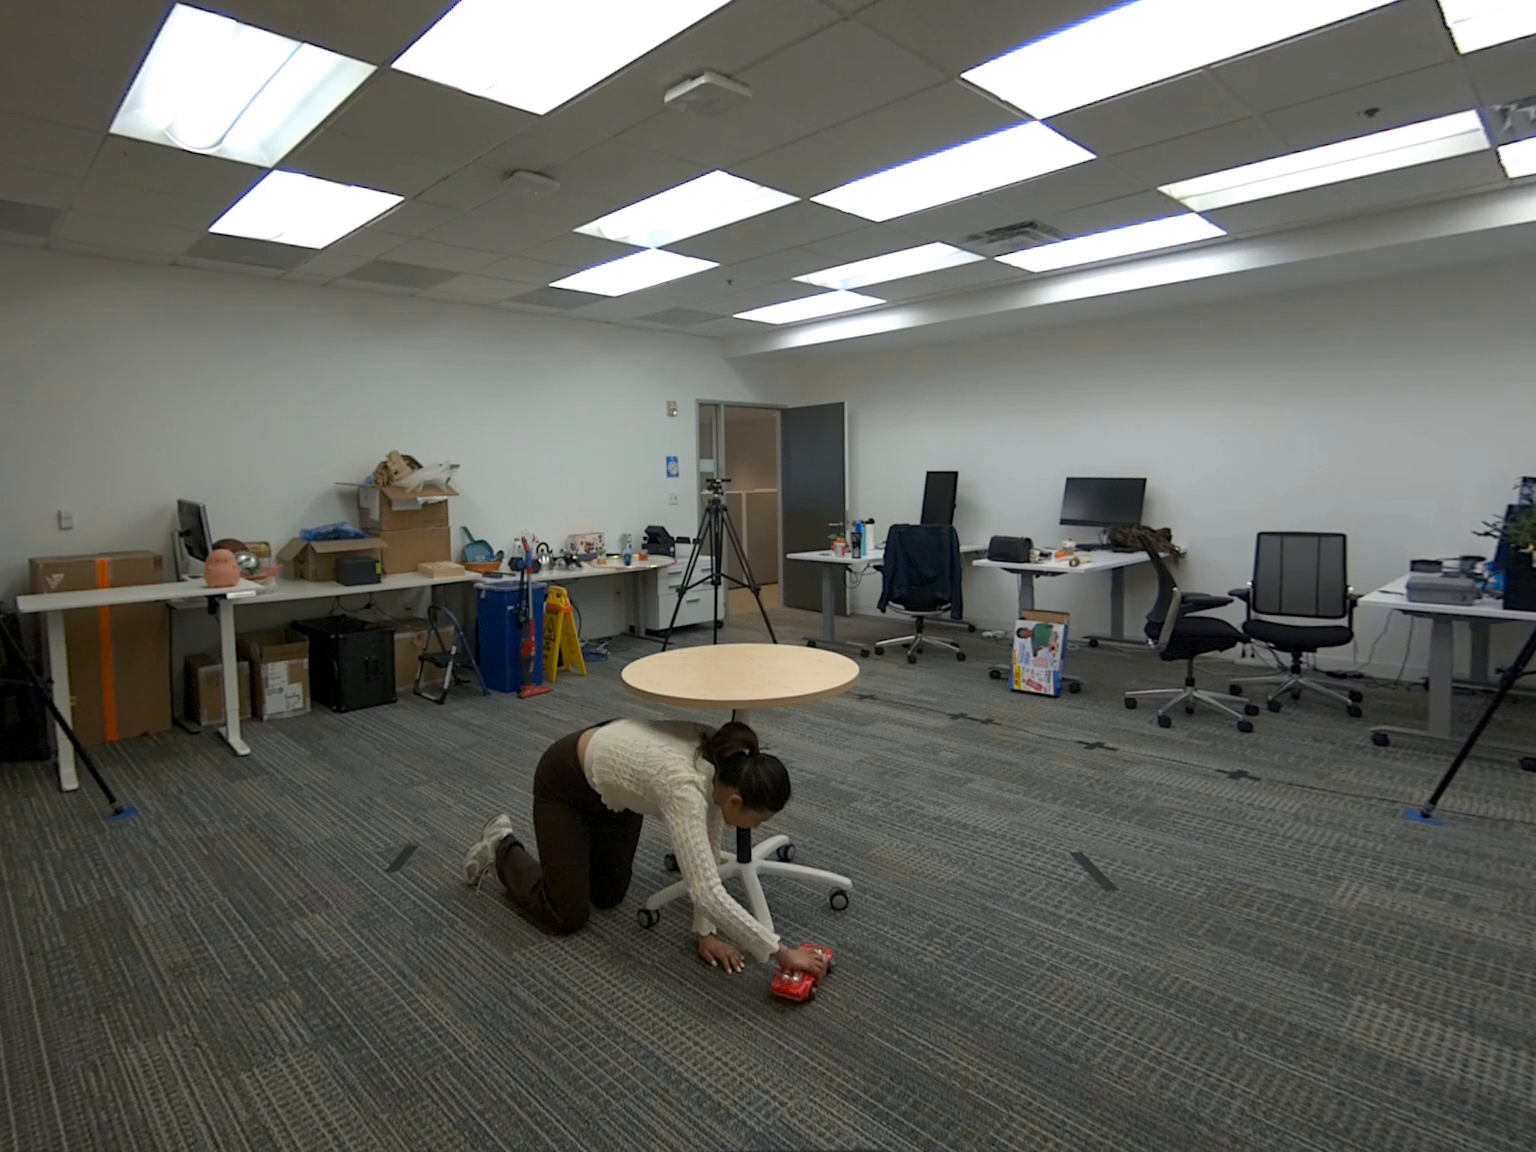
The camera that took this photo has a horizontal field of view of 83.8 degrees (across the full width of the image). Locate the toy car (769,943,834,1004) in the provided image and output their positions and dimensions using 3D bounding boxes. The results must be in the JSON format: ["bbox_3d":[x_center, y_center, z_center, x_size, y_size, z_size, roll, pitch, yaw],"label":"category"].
[{"bbox_3d":[0.090,1.102,2.355,0.133,0.083,0.247,1,-4,26],"label":"toy car"}]
